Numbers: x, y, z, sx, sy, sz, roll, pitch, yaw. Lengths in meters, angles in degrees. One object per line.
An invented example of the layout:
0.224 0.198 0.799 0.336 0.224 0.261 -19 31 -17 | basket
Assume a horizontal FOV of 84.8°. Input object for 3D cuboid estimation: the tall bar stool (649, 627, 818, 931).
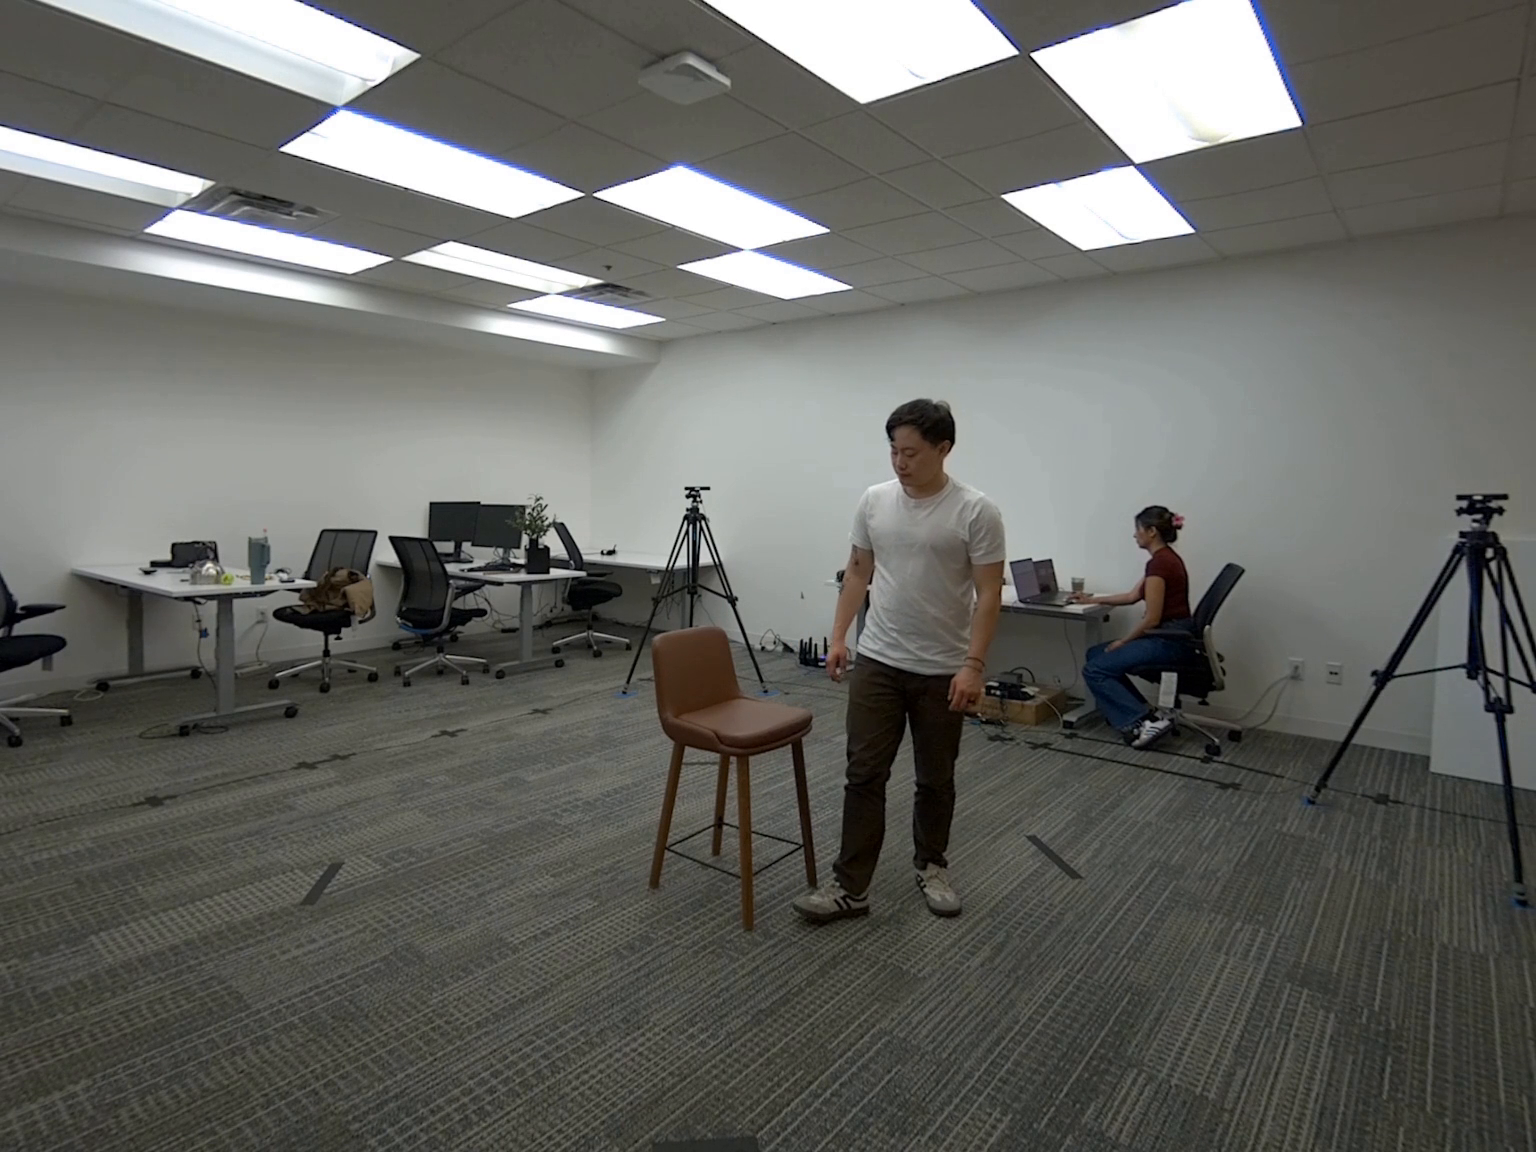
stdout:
-0.125 0.647 2.946 0.482 0.888 0.443 1 2 37 | tall bar stool
